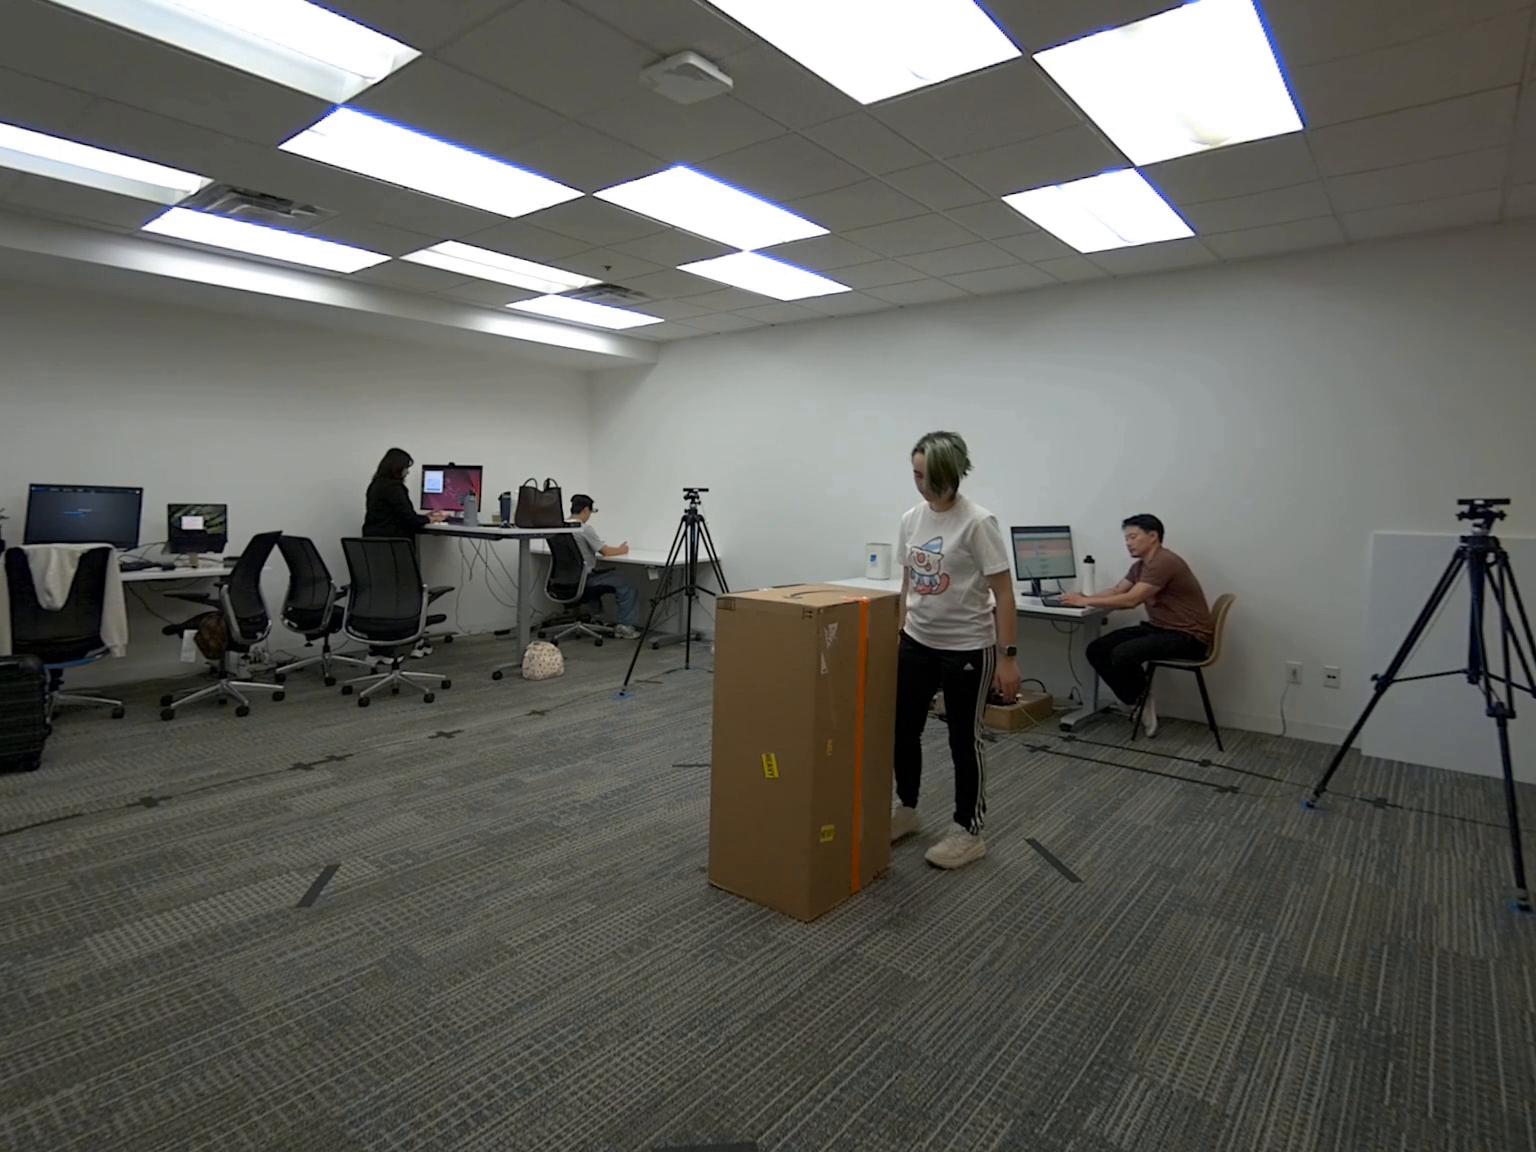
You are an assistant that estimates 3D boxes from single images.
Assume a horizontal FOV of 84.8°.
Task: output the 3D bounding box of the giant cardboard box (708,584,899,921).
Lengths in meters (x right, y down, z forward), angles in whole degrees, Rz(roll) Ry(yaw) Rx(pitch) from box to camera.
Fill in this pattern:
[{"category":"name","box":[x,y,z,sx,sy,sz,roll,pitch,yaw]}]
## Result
[{"category":"giant cardboard box","box":[0.132,0.575,3.055,0.461,1.025,0.567,3,3,36]}]
